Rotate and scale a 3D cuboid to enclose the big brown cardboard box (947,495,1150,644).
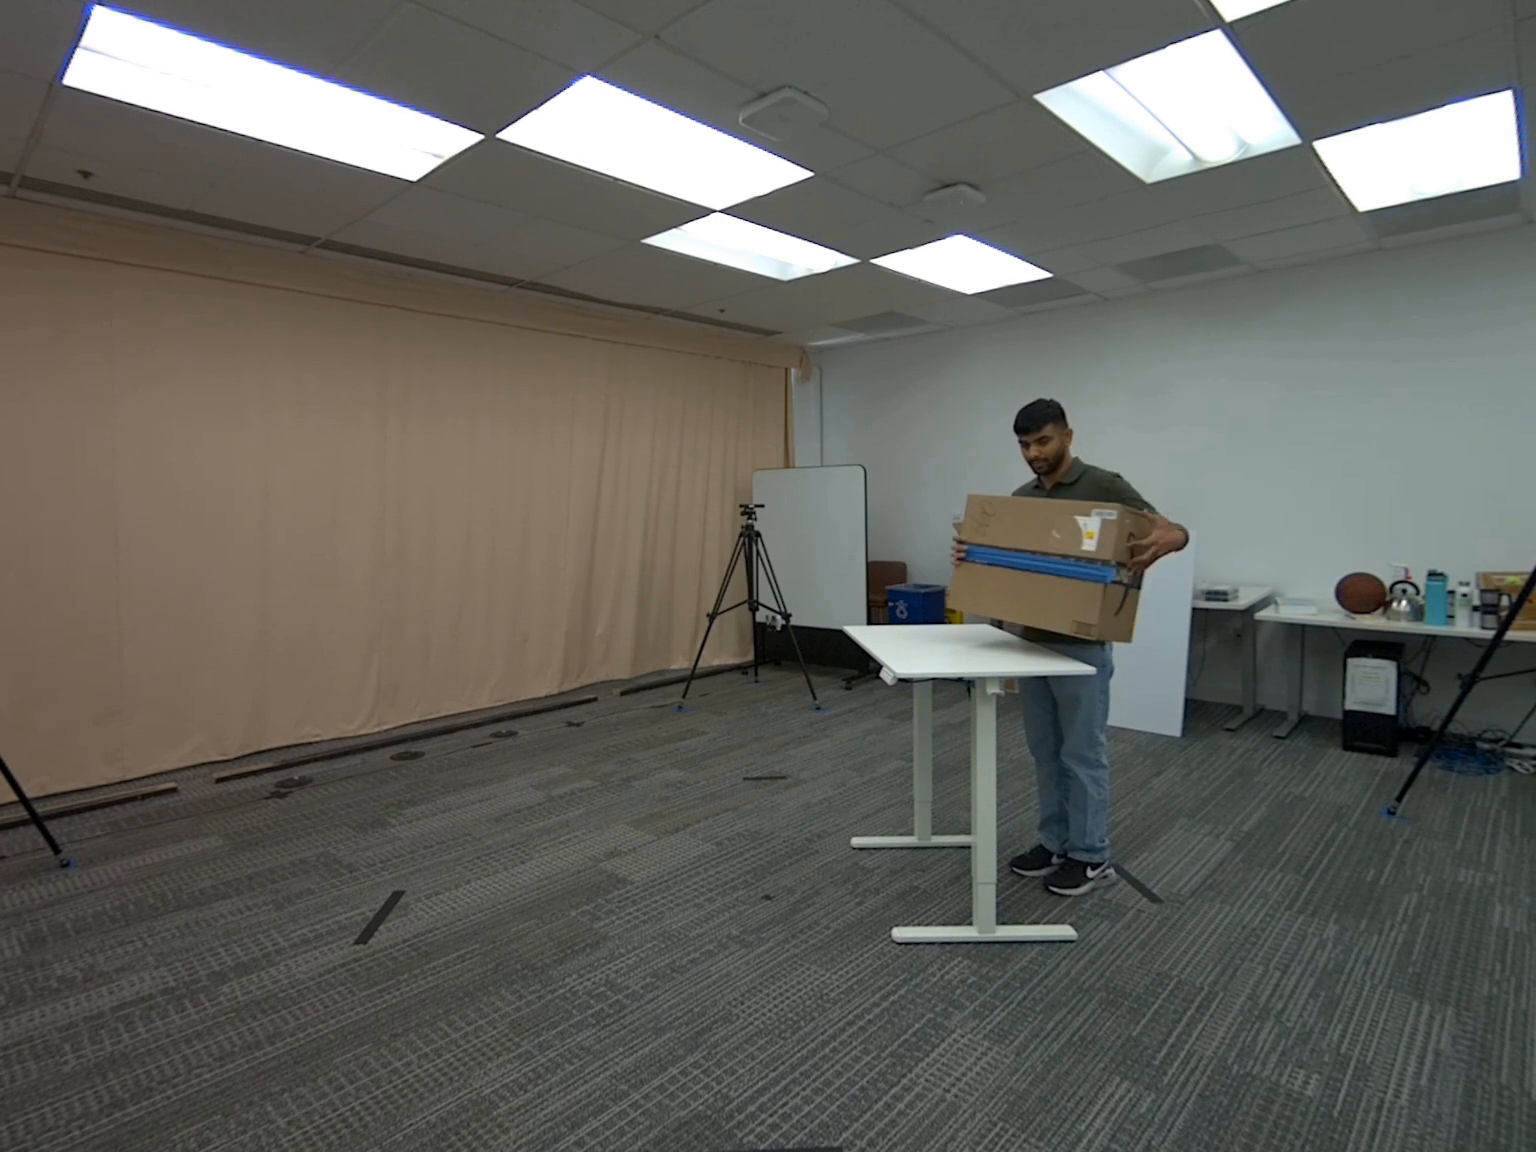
[{"bbox_3d":[0.942,-0.037,2.829,0.225,0.417,0.609,8,2,-38],"label":"big brown cardboard box"}]
